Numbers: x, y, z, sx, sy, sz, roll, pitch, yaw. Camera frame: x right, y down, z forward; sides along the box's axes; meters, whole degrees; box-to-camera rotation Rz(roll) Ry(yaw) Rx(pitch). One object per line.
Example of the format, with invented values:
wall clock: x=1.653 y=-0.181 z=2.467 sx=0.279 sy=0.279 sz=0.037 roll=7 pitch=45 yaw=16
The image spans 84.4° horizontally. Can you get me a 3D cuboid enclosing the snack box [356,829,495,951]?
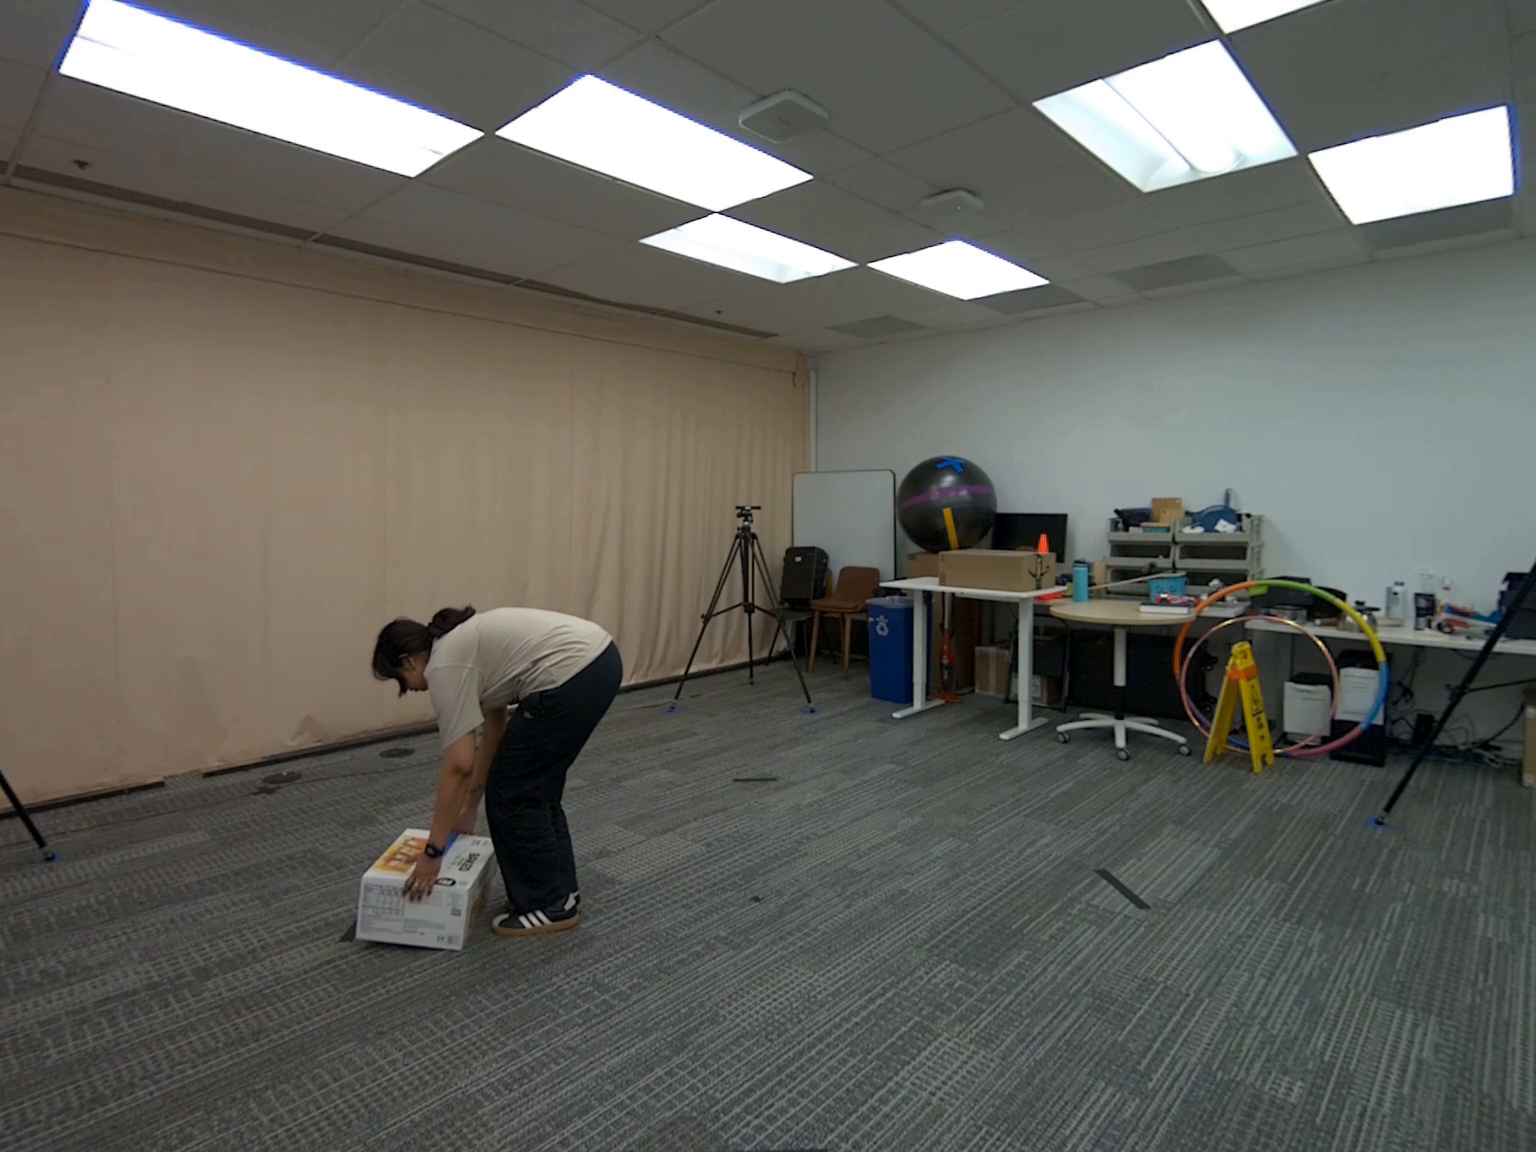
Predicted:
snack box: x=-1.134 y=1.051 z=2.838 sx=0.340 sy=0.205 sz=0.406 roll=6 pitch=3 yaw=-3
